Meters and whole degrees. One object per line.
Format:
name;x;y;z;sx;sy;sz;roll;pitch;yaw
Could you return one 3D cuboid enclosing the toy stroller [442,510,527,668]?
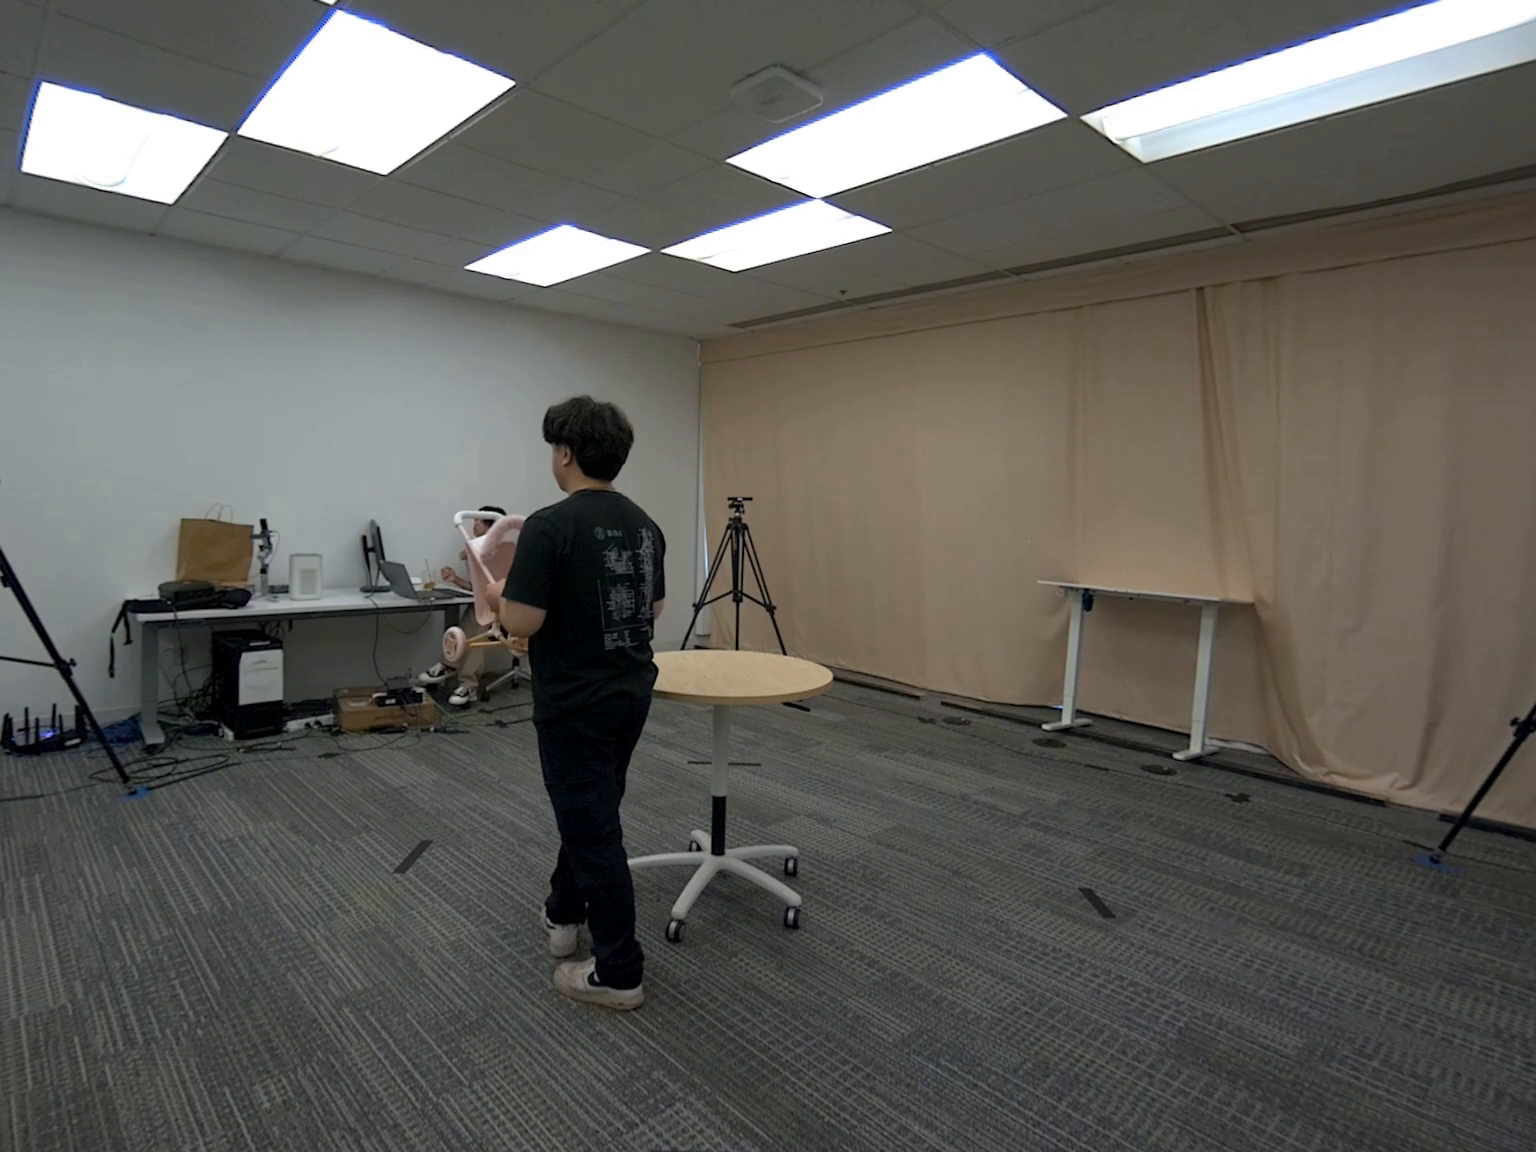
toy stroller;-0.802;0.051;2.589;0.349;0.536;0.274;-4;-4;42
